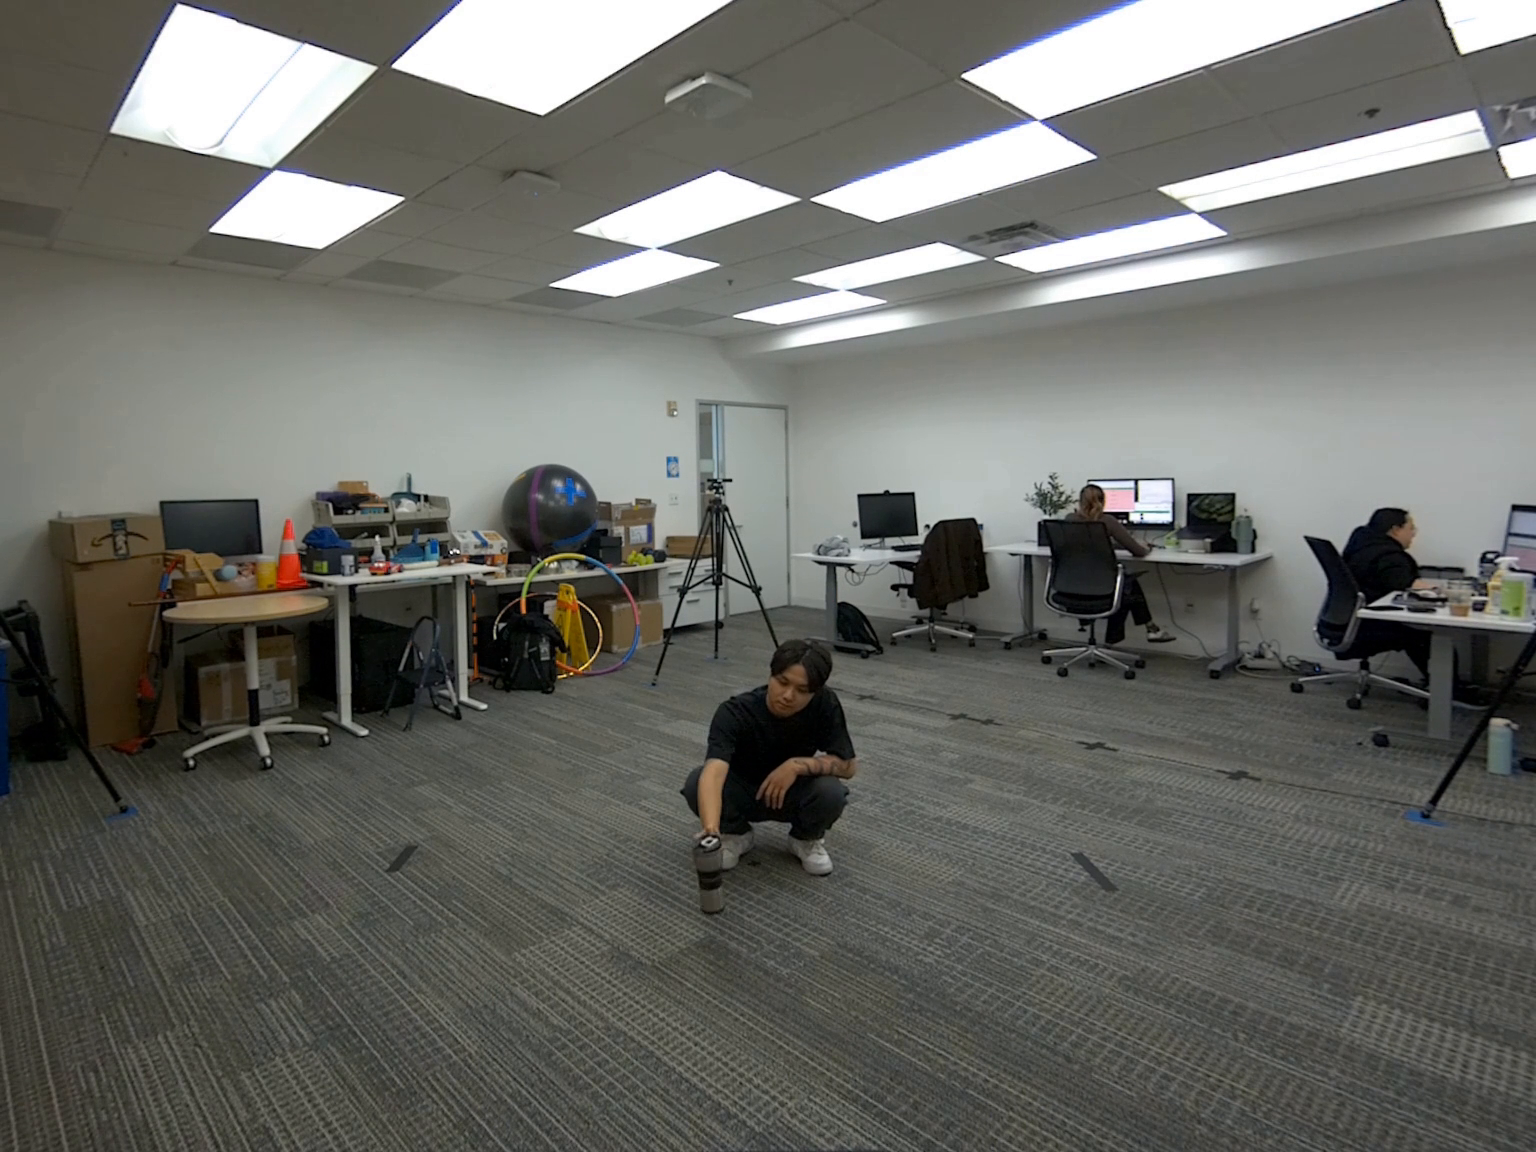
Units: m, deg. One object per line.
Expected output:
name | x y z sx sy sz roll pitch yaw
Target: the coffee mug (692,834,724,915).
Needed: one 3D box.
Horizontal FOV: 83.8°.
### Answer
coffee mug | -0.147 0.846 2.461 0.119 0.202 0.090 -14 8 -41
